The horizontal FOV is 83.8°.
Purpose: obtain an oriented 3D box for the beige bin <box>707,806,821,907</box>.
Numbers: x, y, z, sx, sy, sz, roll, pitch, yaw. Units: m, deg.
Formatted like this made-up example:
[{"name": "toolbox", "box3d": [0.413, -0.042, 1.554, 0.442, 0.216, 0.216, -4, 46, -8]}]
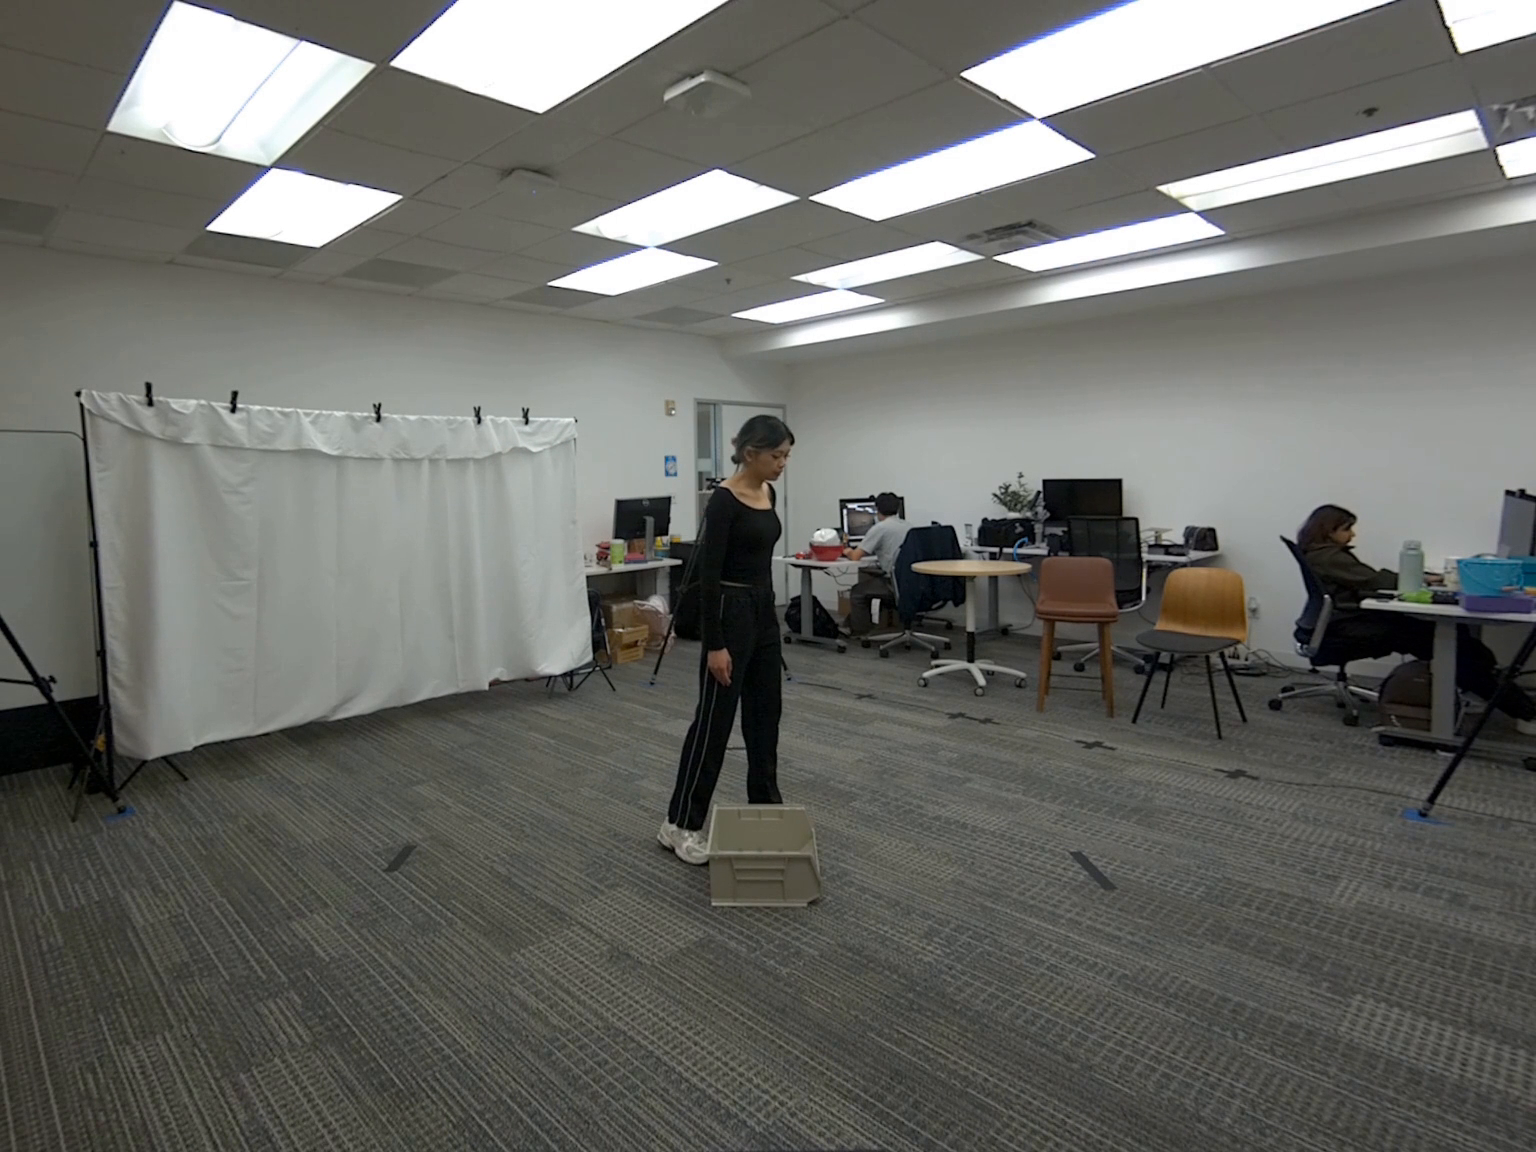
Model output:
[{"name": "beige bin", "box3d": [-0.009, 0.968, 2.984, 0.378, 0.188, 0.424, -2, 7, 0]}]
